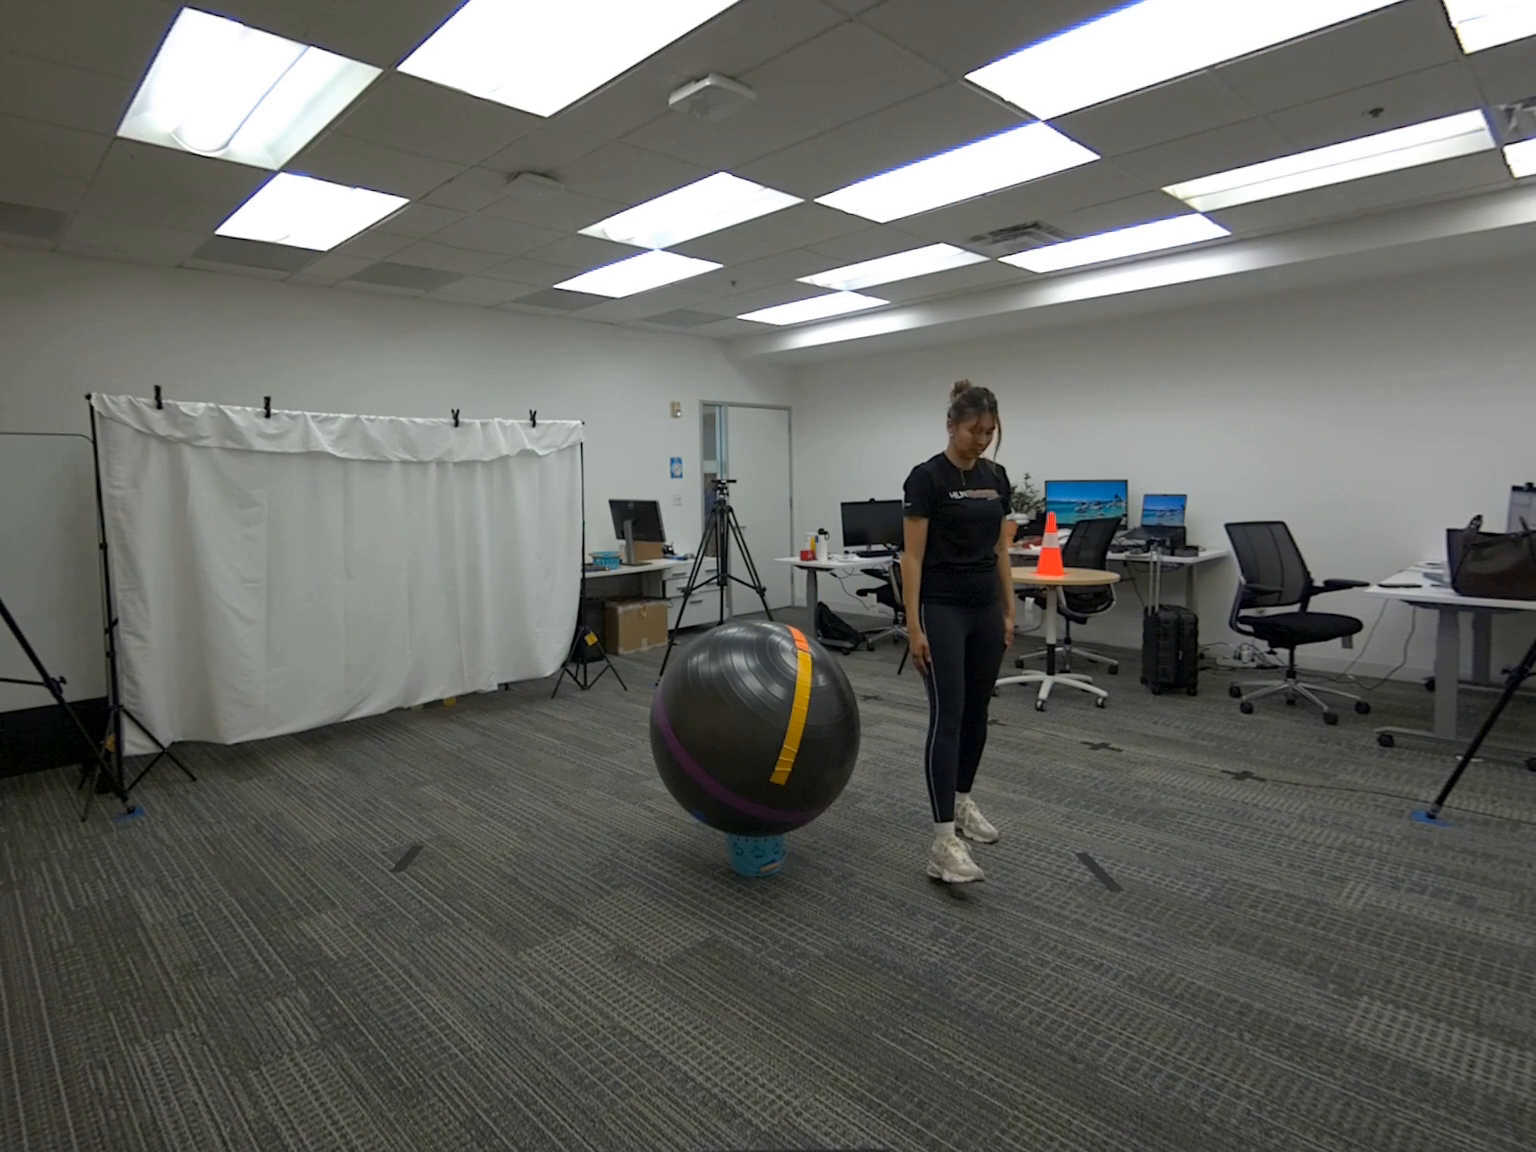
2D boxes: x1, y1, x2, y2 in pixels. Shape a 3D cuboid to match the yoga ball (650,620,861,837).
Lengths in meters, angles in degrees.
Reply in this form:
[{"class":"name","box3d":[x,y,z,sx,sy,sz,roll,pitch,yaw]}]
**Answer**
[{"class":"yoga ball","box3d":[-0.049,0.535,3.073,0.757,0.755,0.762,-1,5,-2]}]
